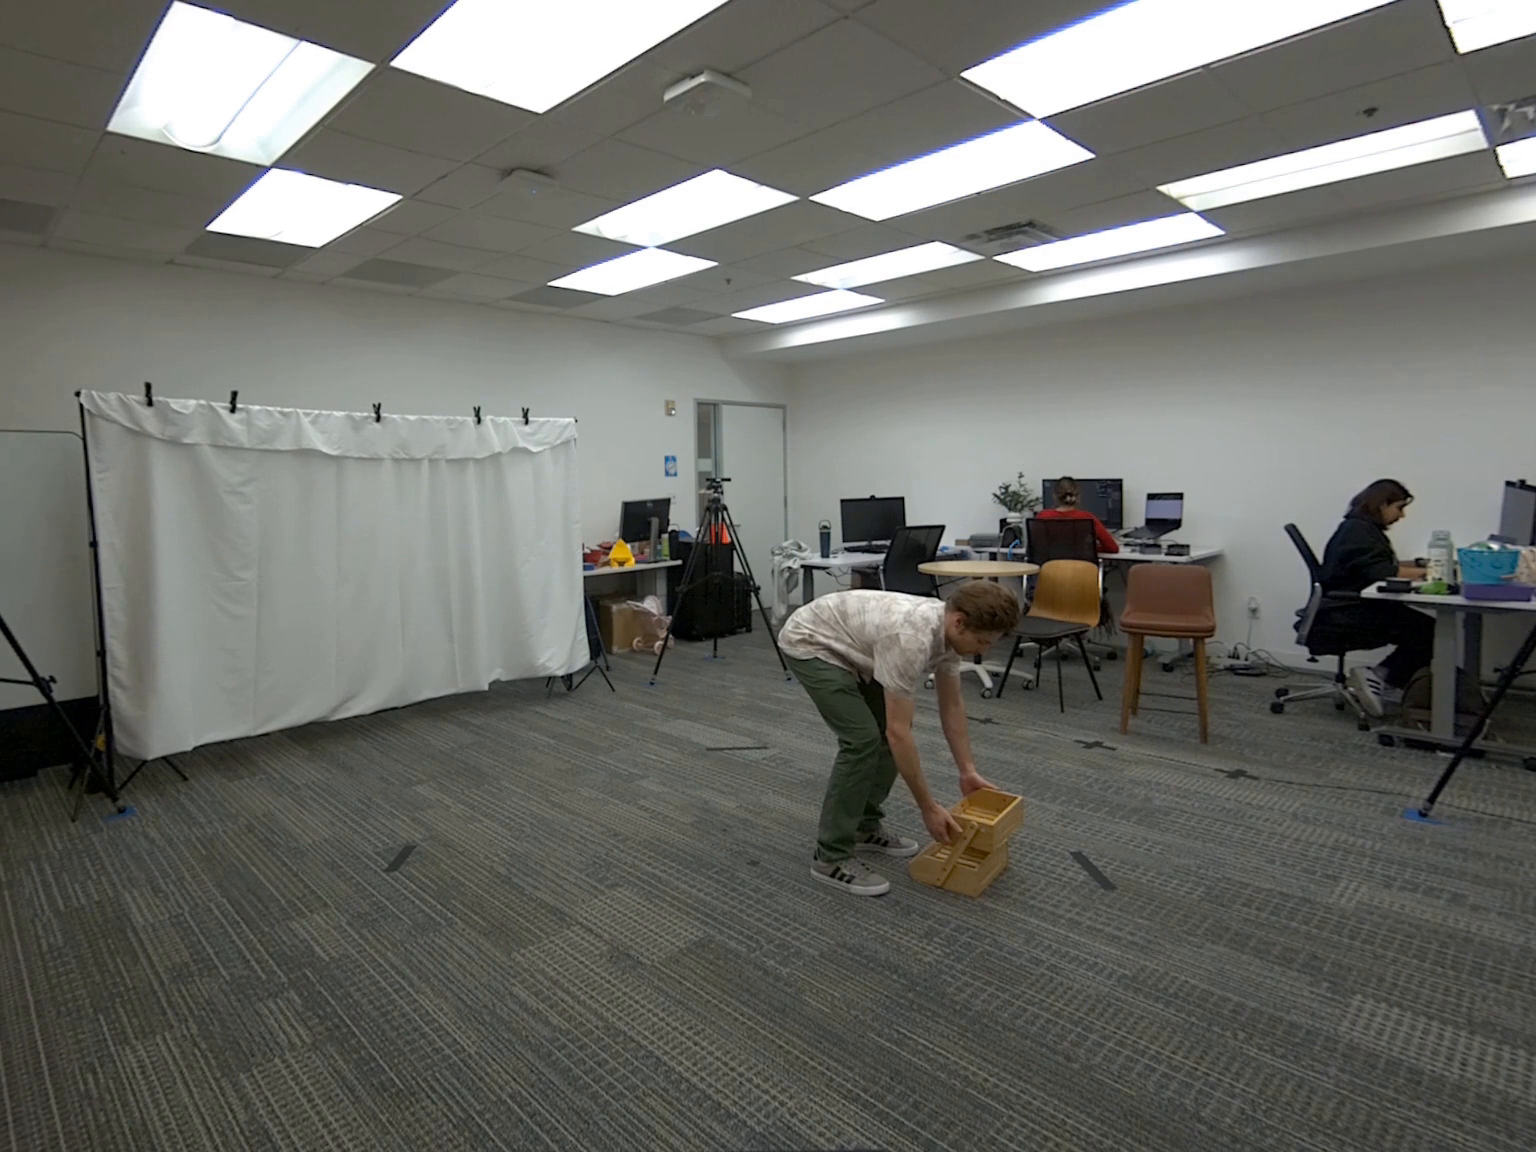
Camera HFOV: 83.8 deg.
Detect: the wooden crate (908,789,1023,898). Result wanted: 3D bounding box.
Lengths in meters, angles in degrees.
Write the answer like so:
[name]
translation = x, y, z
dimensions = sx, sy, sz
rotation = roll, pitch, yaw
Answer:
[wooden crate]
translation = 0.697, 0.910, 2.991
dimensions = 0.311, 0.272, 0.316
rotation = 4, 6, 36
